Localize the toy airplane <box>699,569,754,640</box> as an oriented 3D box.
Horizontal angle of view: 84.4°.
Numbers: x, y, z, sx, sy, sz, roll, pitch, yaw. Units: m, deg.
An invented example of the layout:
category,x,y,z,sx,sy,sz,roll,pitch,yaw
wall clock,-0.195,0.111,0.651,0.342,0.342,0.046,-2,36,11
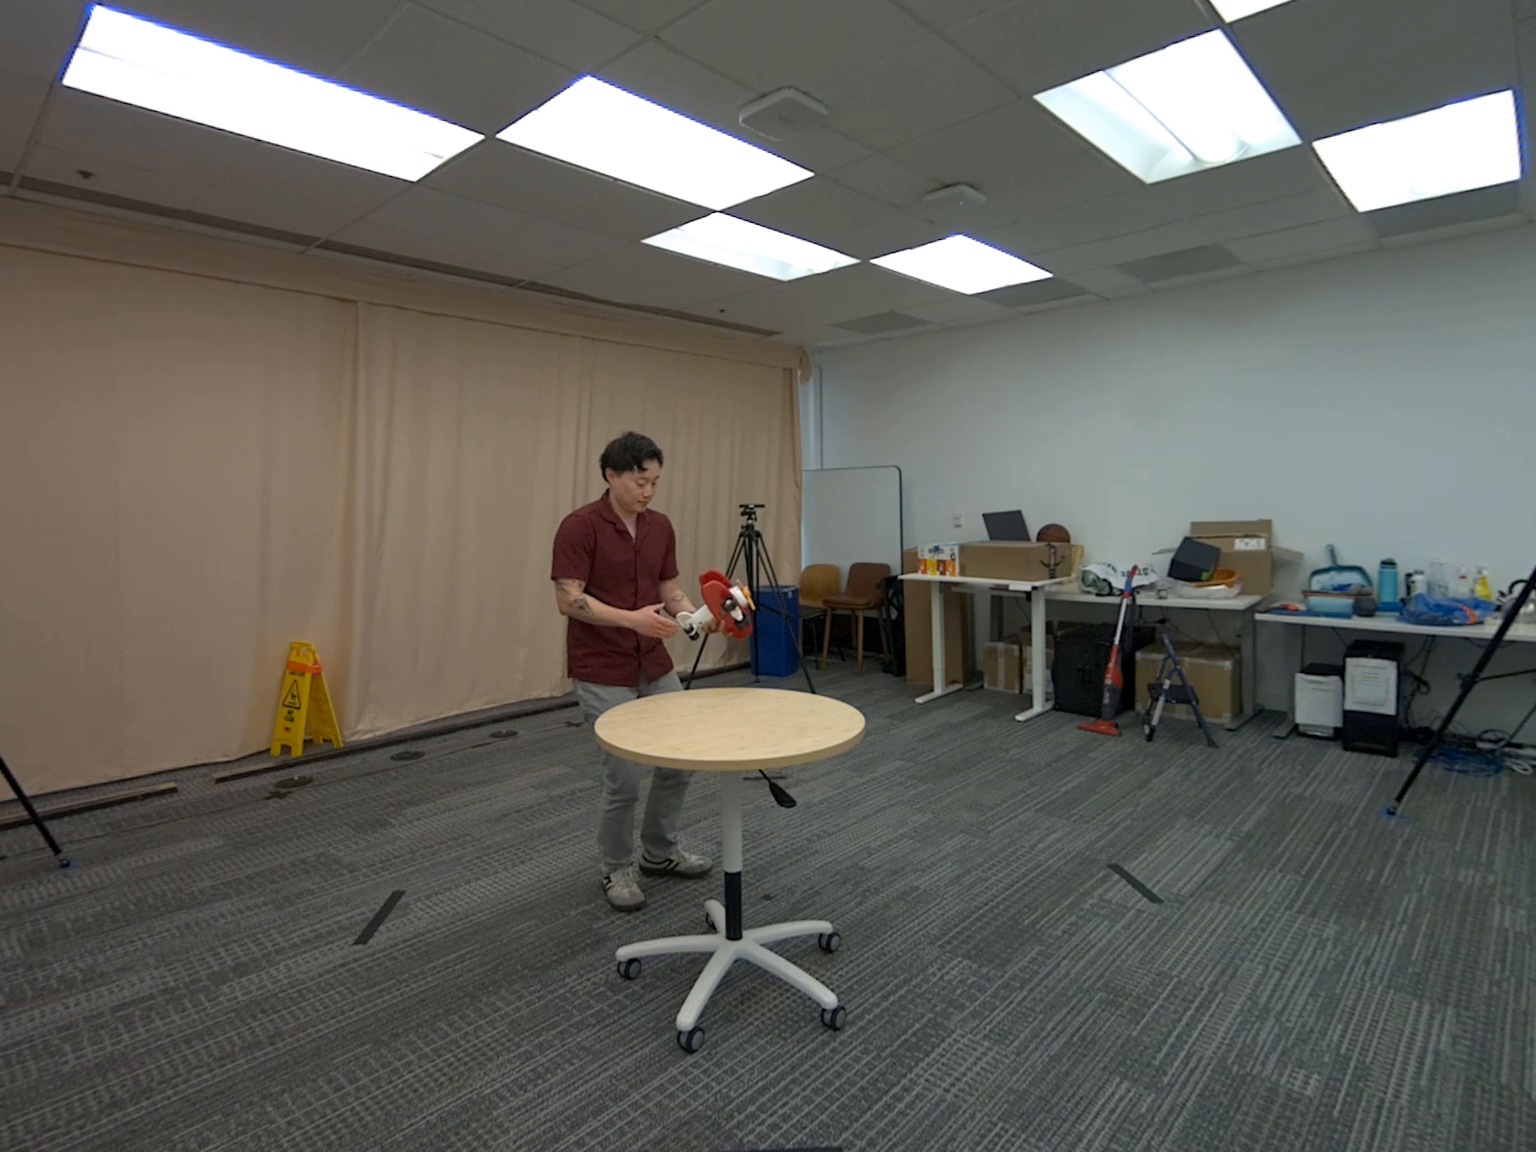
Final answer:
category,x,y,z,sx,sy,sz,roll,pitch,yaw
toy airplane,-0.177,0.093,2.851,0.261,0.246,0.158,0,37,6
